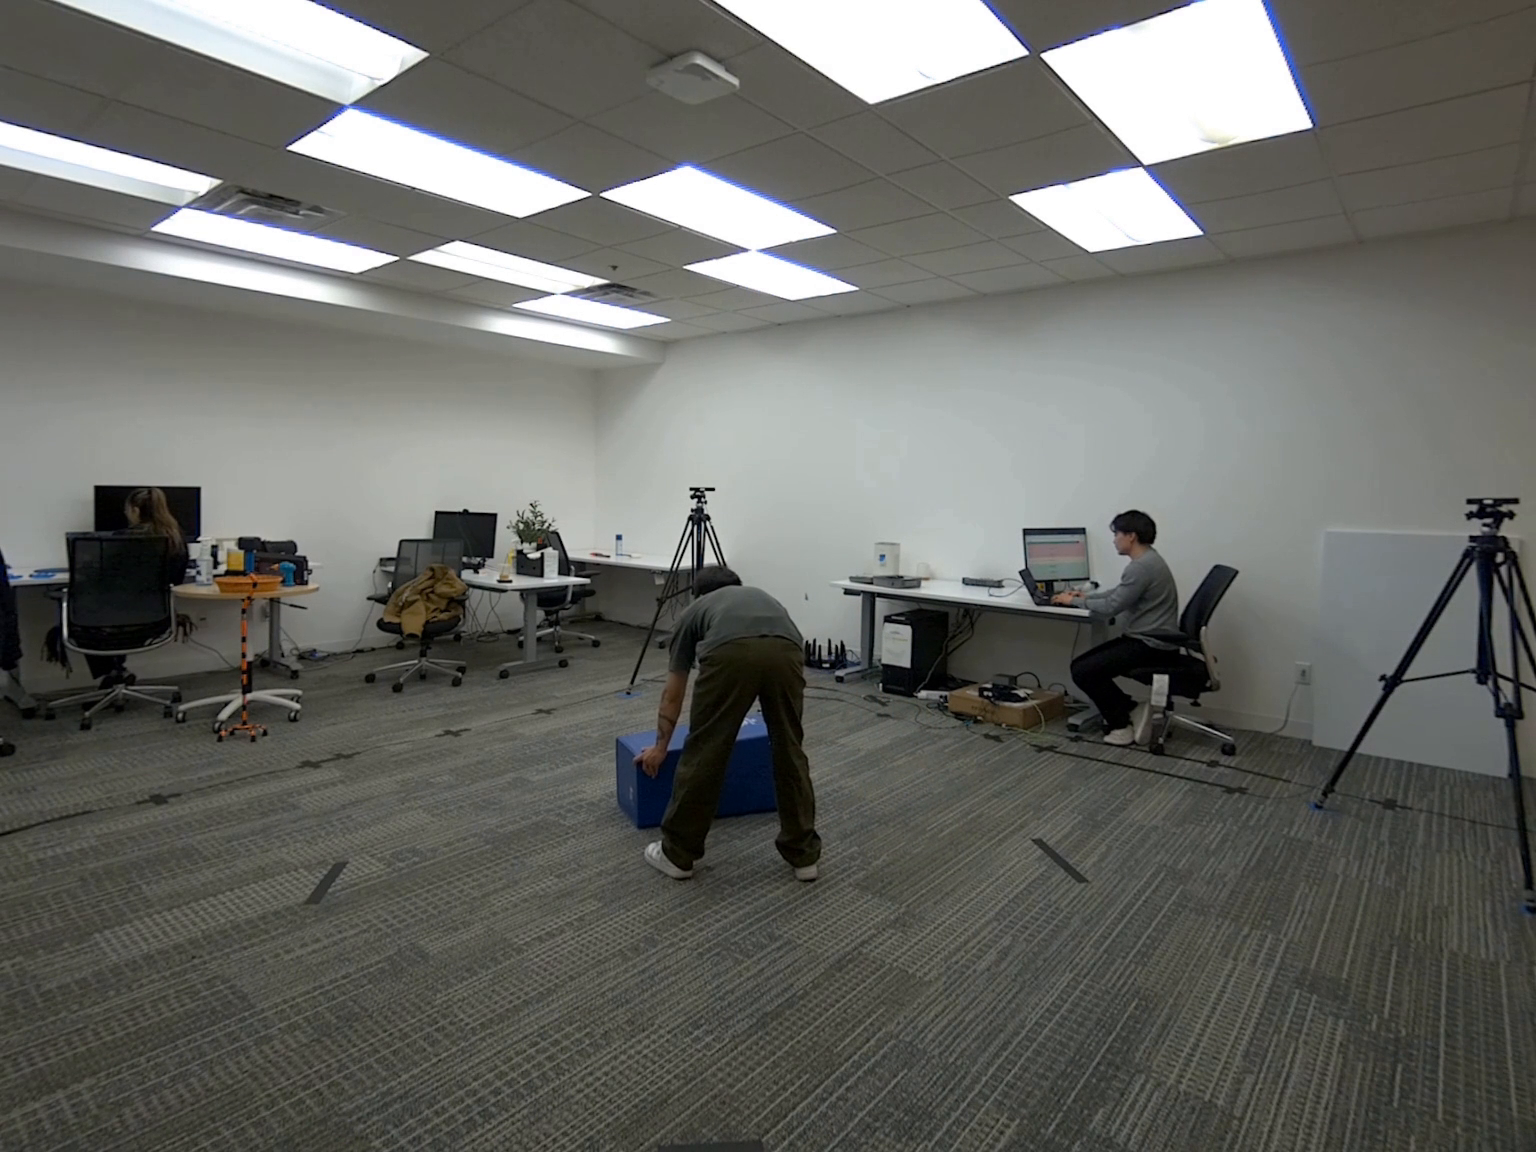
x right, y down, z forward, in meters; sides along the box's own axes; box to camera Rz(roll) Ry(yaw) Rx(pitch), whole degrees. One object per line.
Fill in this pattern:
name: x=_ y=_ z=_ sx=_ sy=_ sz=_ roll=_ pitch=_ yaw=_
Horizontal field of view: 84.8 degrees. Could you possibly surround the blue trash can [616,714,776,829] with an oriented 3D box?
blue trash can: x=-0.289 y=0.828 z=3.704 sx=0.698 sy=0.372 sz=0.389 roll=-3 pitch=7 yaw=-24
